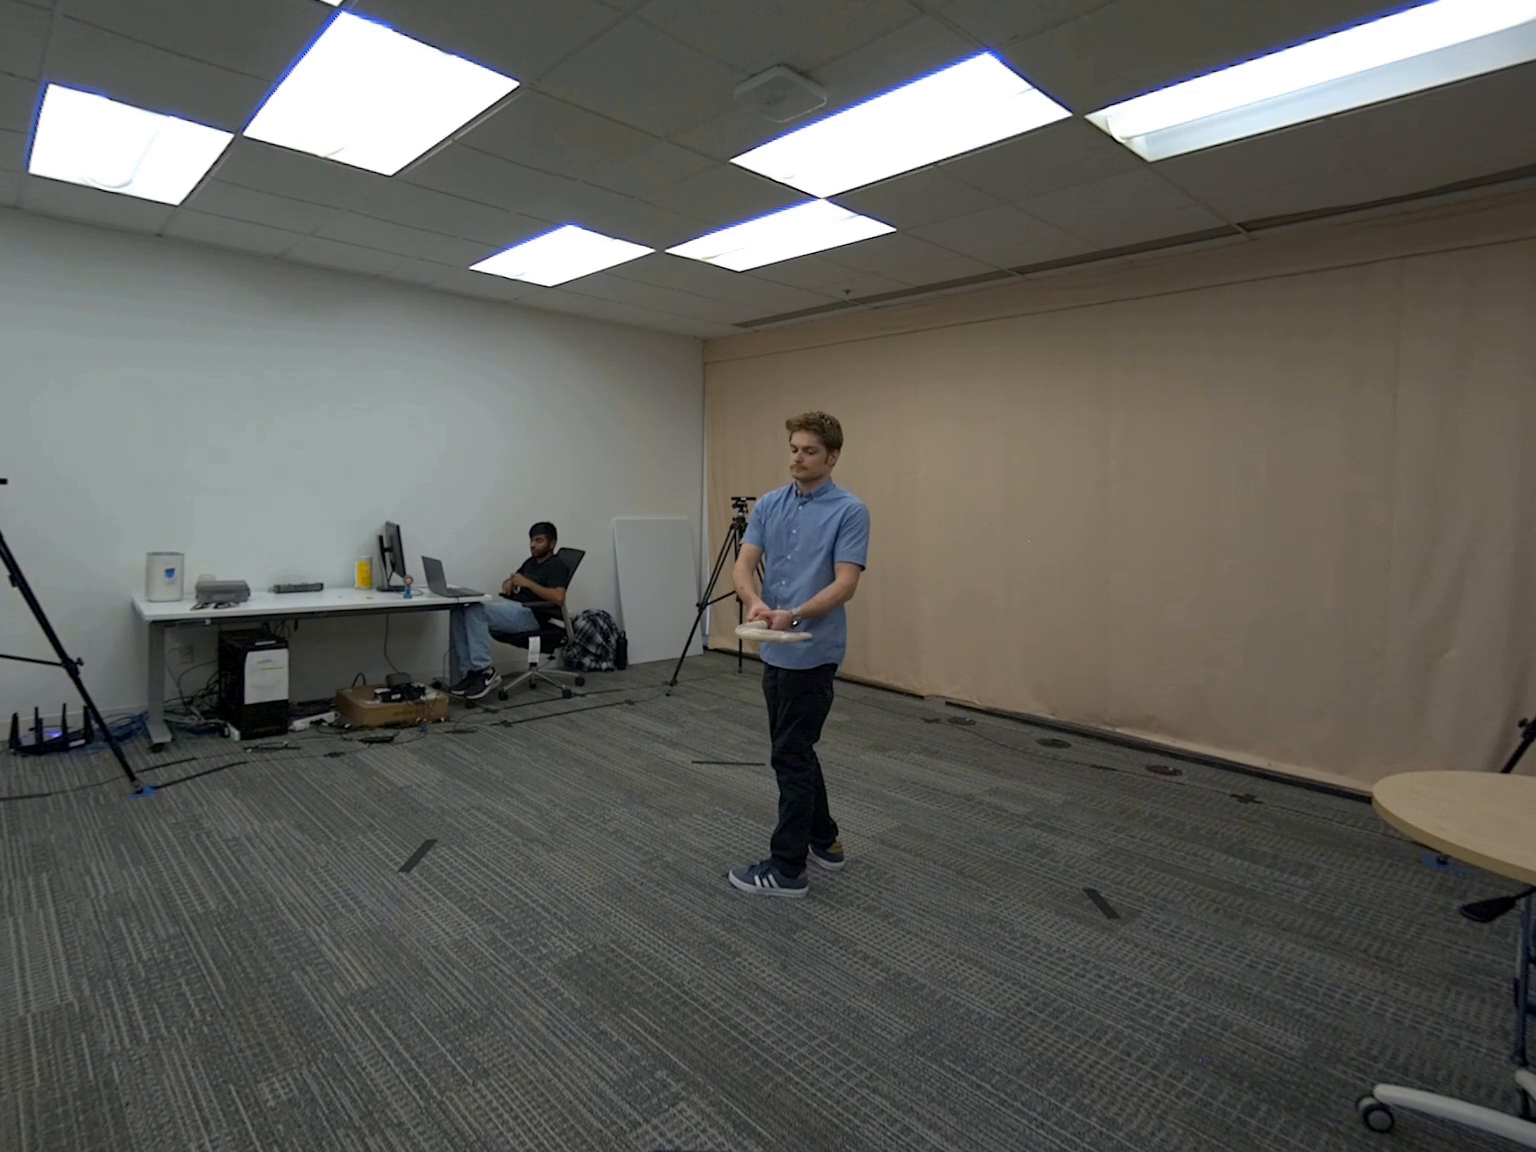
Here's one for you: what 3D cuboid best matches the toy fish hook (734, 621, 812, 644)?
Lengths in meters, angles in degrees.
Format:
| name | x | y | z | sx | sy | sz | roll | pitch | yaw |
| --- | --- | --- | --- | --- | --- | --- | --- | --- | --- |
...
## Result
| name | x | y | z | sx | sy | sz | roll | pitch | yaw |
| --- | --- | --- | --- | --- | --- | --- | --- | --- | --- |
| toy fish hook | 0.001 | 0.172 | 2.617 | 0.226 | 0.048 | 0.505 | 7 | 3 | 4 |
